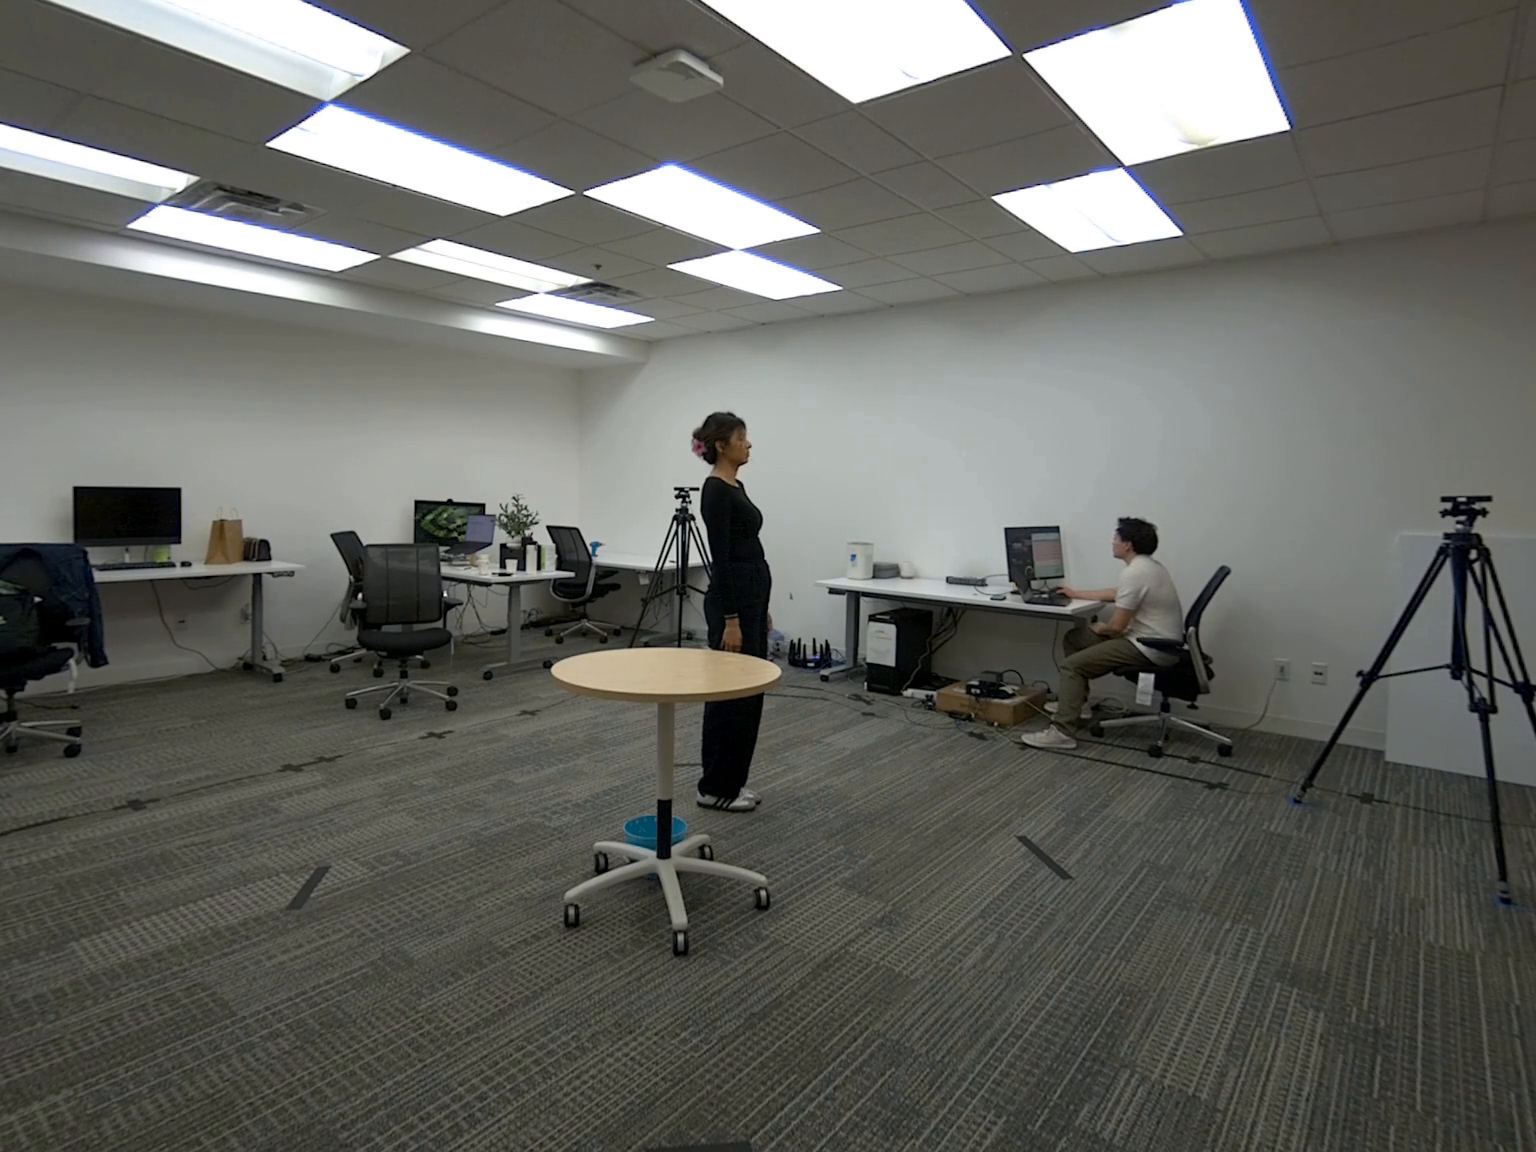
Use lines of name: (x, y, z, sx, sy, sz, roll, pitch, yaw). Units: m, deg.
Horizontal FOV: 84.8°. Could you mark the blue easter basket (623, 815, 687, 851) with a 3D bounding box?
blue easter basket: (-0.428, 0.989, 3.106, 0.243, 0.155, 0.244, 0, 4, -2)
